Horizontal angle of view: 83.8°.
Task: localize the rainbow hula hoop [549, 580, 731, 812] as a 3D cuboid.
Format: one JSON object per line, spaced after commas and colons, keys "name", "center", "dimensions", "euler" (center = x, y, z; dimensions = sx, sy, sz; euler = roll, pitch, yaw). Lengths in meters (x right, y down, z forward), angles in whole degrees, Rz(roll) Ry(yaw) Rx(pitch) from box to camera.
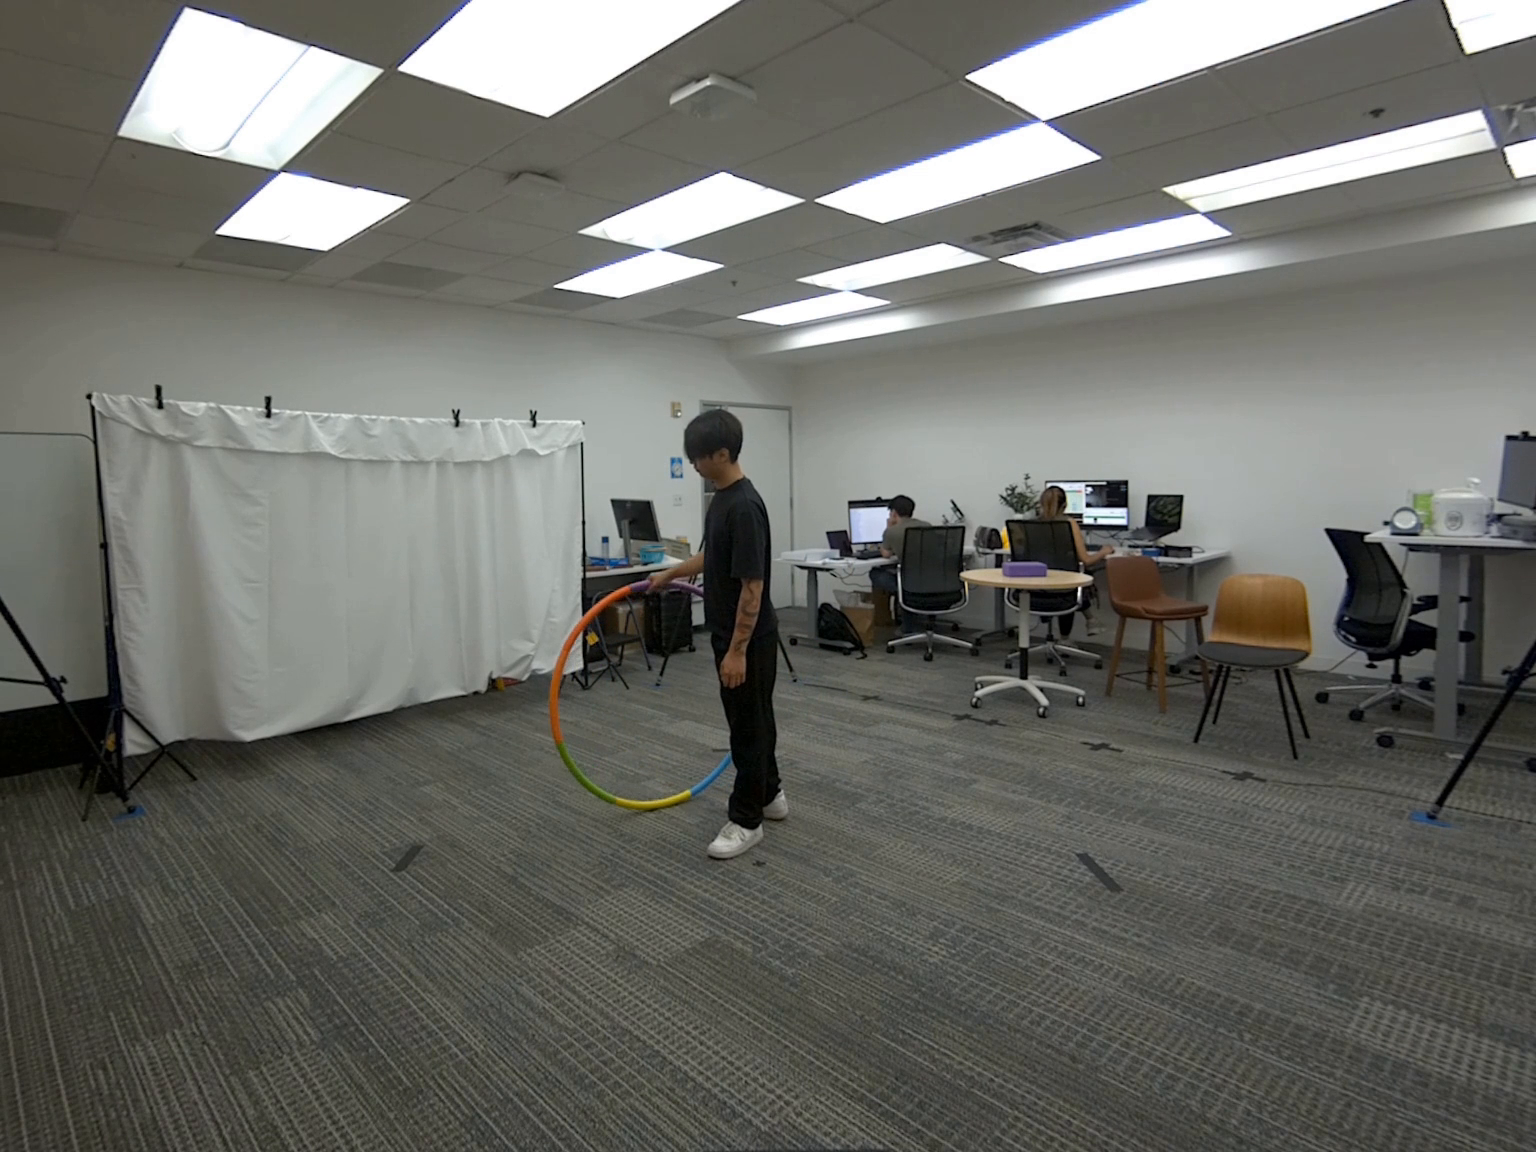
{"name": "rainbow hula hoop", "center": [-0.458, 0.508, 3.659], "dimensions": [0.954, 0.976, 0.036], "euler": [-4, 3, -33]}
